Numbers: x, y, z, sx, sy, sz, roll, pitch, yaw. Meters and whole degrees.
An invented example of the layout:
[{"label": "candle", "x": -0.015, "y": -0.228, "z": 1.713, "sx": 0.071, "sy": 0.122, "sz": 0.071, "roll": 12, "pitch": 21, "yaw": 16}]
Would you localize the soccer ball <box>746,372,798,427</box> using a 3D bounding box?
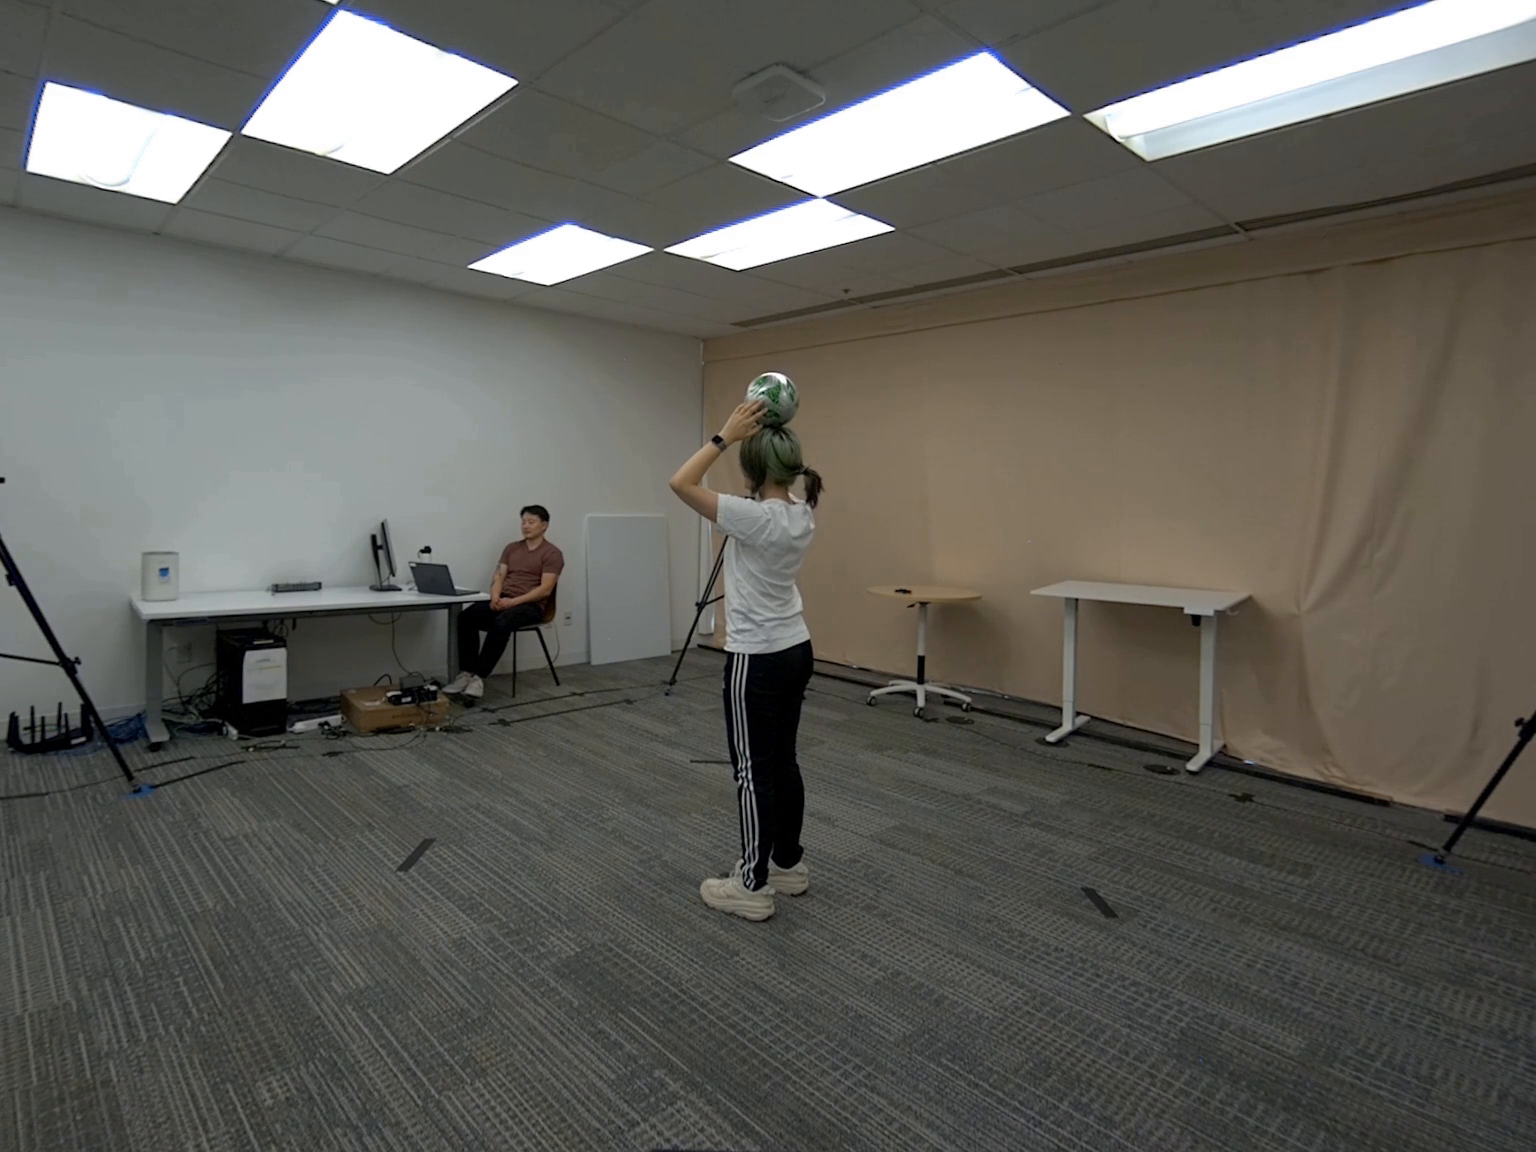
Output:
[{"label": "soccer ball", "x": 0.009, "y": -0.596, "z": 2.859, "sx": 0.187, "sy": 0.187, "sz": 0.188, "roll": 1, "pitch": 4, "yaw": -1}]
